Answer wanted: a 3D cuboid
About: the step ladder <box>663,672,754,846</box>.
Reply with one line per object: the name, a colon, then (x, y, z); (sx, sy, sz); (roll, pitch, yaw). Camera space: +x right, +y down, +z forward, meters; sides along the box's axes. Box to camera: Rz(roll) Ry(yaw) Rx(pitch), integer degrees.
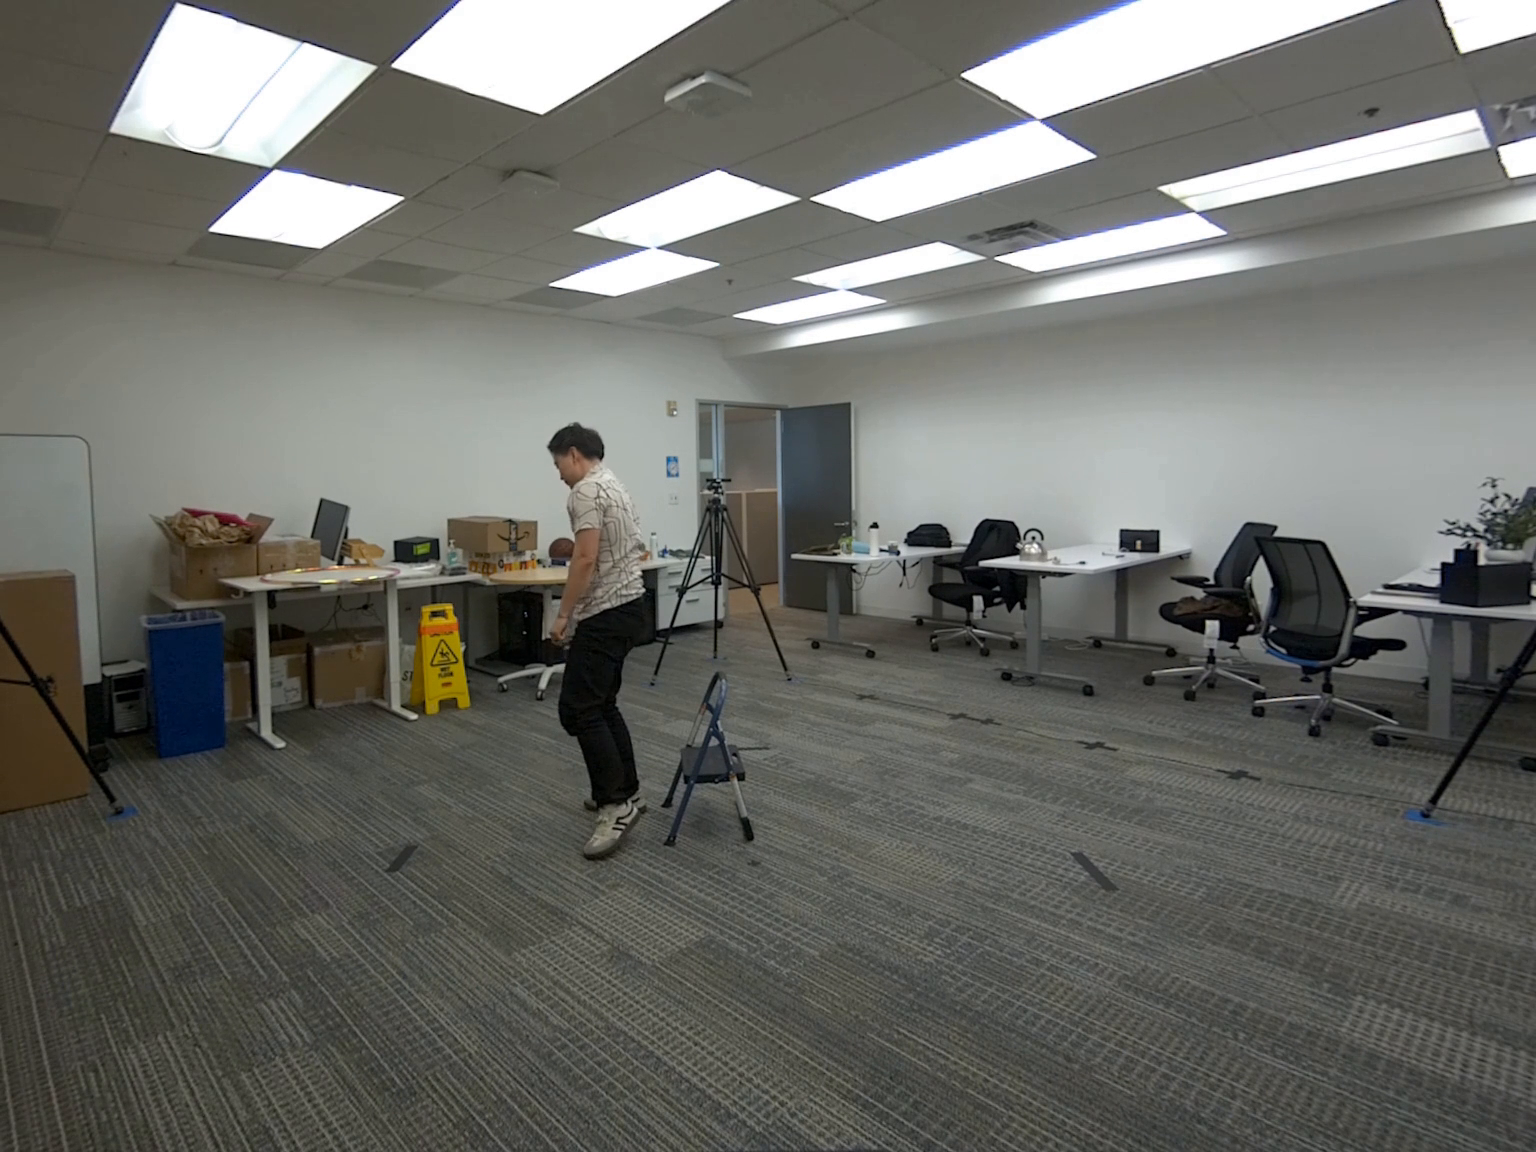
step ladder: (-0.246, 0.710, 3.459); (0.347, 0.604, 0.435); (0, 4, -7)
